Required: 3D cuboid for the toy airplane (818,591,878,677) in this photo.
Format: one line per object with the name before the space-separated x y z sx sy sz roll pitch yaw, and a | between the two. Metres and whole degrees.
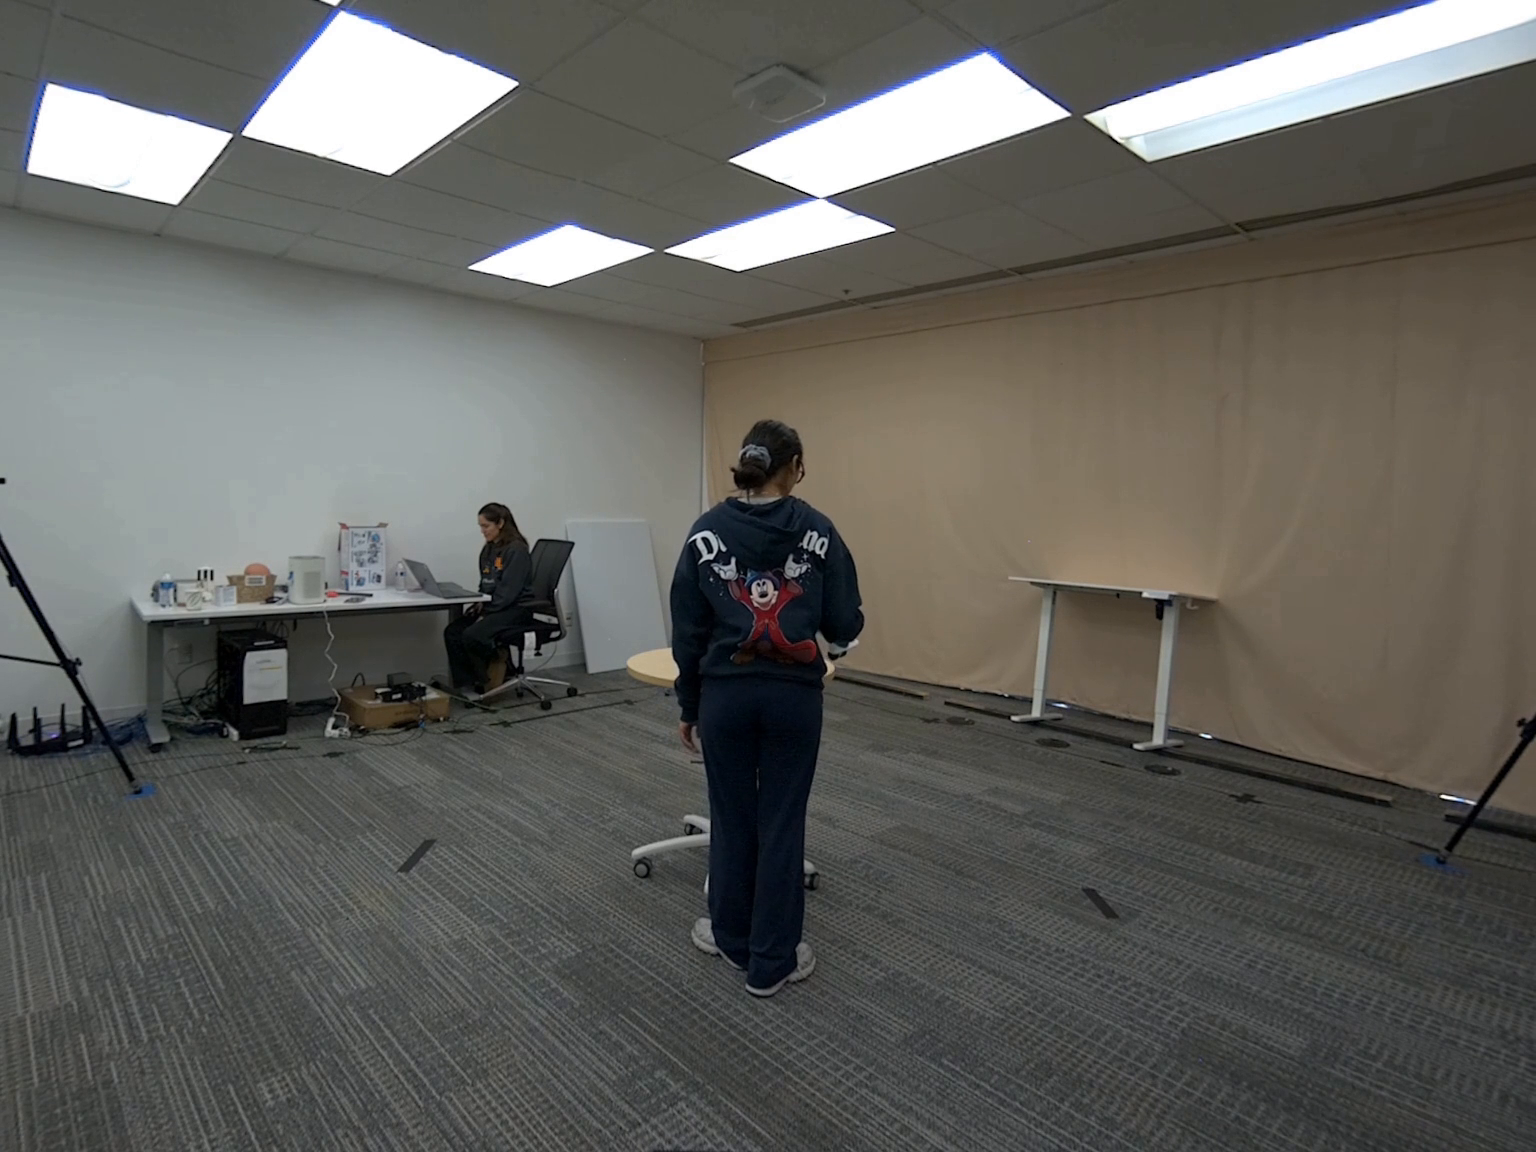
toy airplane | 0.182 0.154 2.720 0.263 0.154 0.251 14 29 16
